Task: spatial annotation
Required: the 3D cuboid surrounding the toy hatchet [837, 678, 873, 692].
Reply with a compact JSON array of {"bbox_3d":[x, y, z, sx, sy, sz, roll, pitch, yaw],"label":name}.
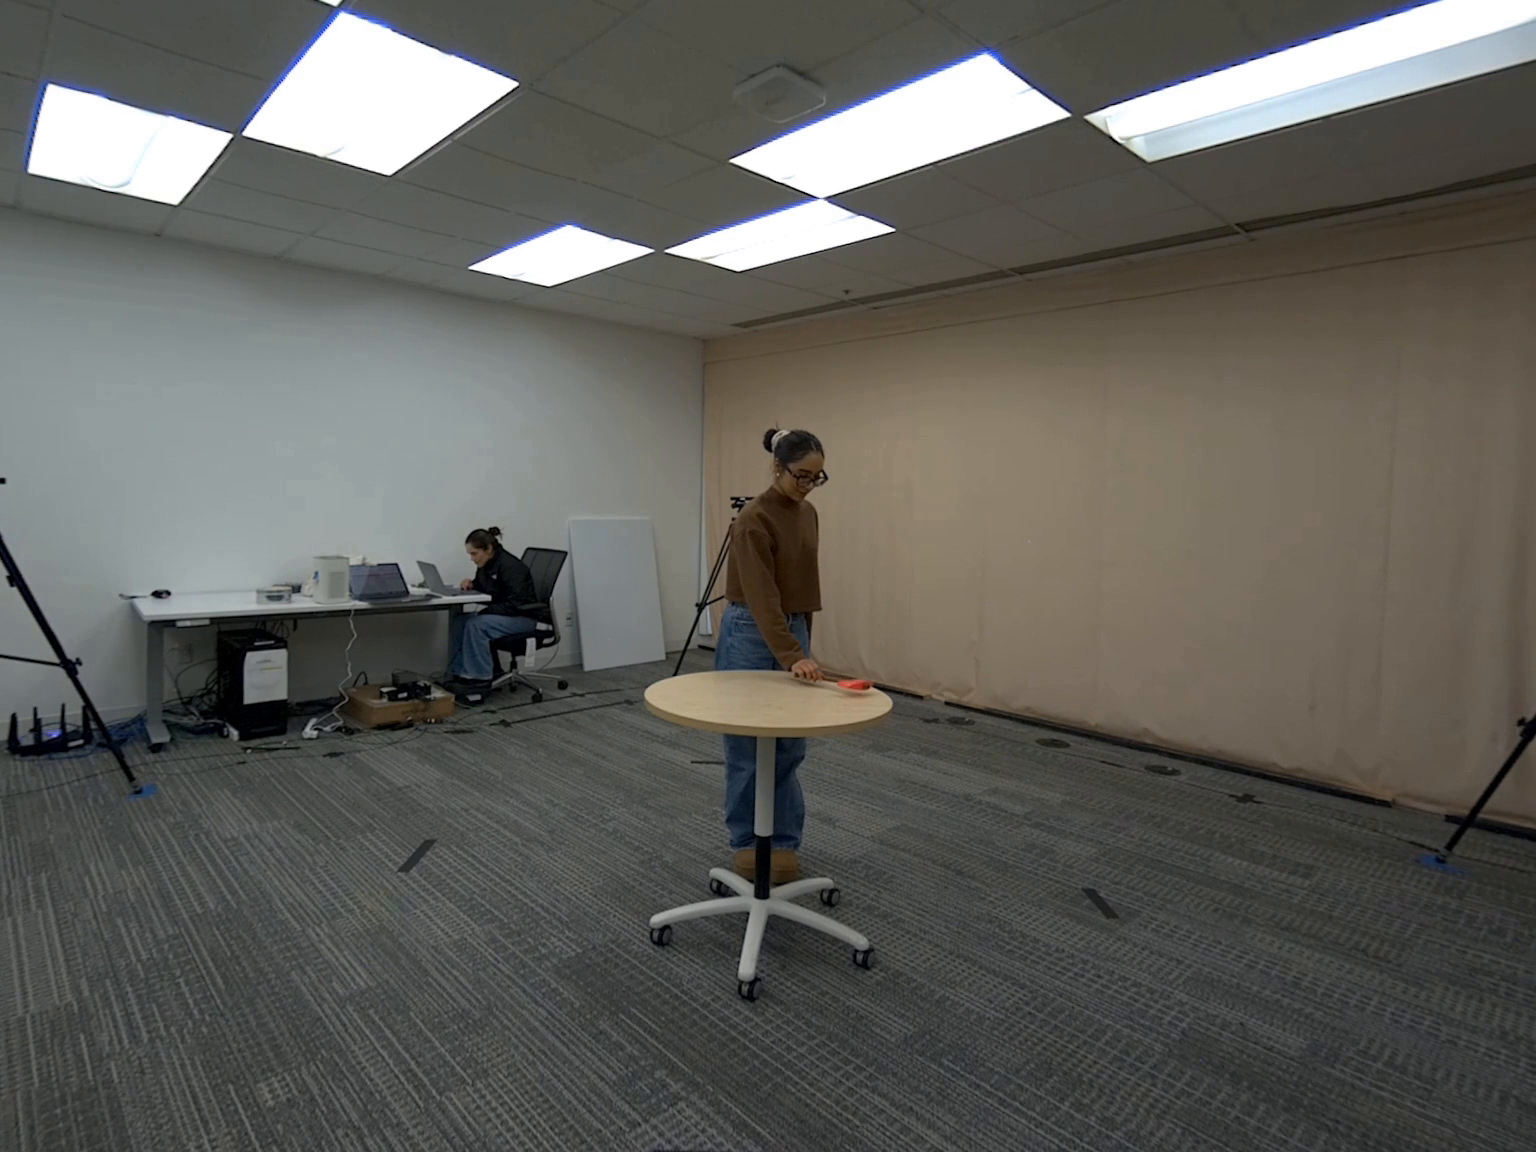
[{"bbox_3d":[0.220,0.339,2.744,0.128,0.029,0.275,-1,2,-29],"label":"toy hatchet"}]
